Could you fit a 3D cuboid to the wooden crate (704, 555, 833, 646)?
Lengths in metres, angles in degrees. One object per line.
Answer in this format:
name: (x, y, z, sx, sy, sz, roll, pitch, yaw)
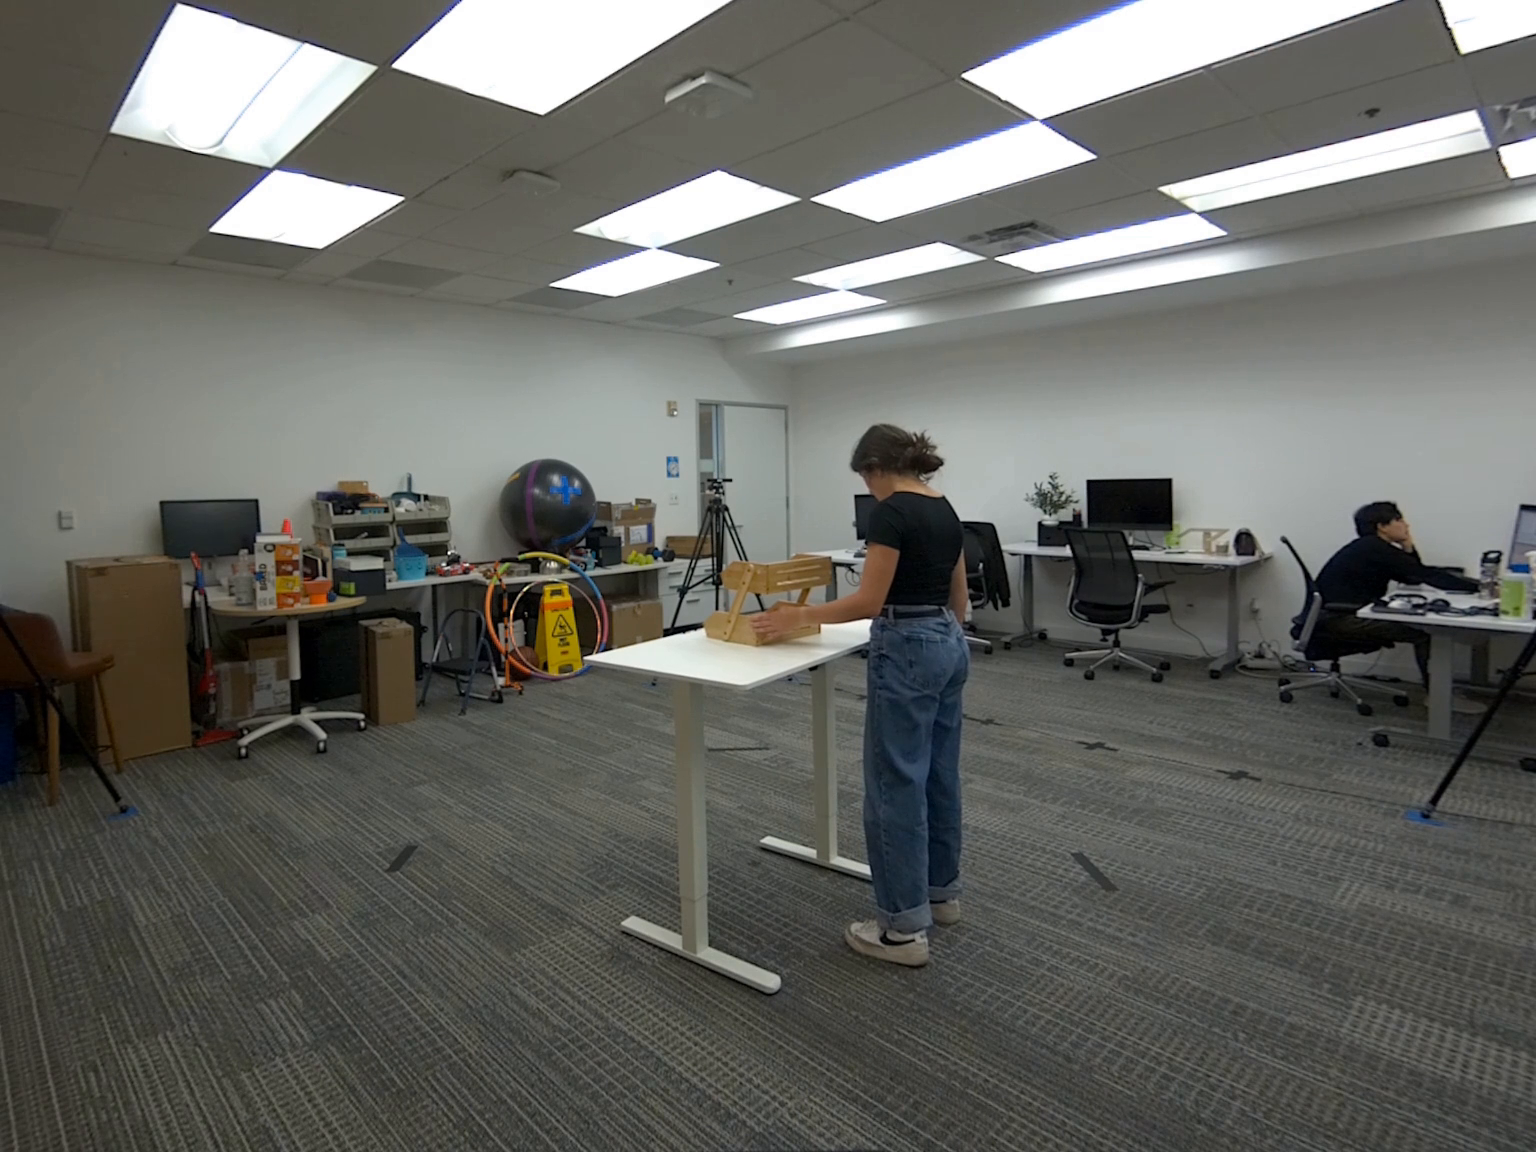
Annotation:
wooden crate: (0.002, 0.064, 2.790, 0.316, 0.272, 0.311, -7, 9, -43)
